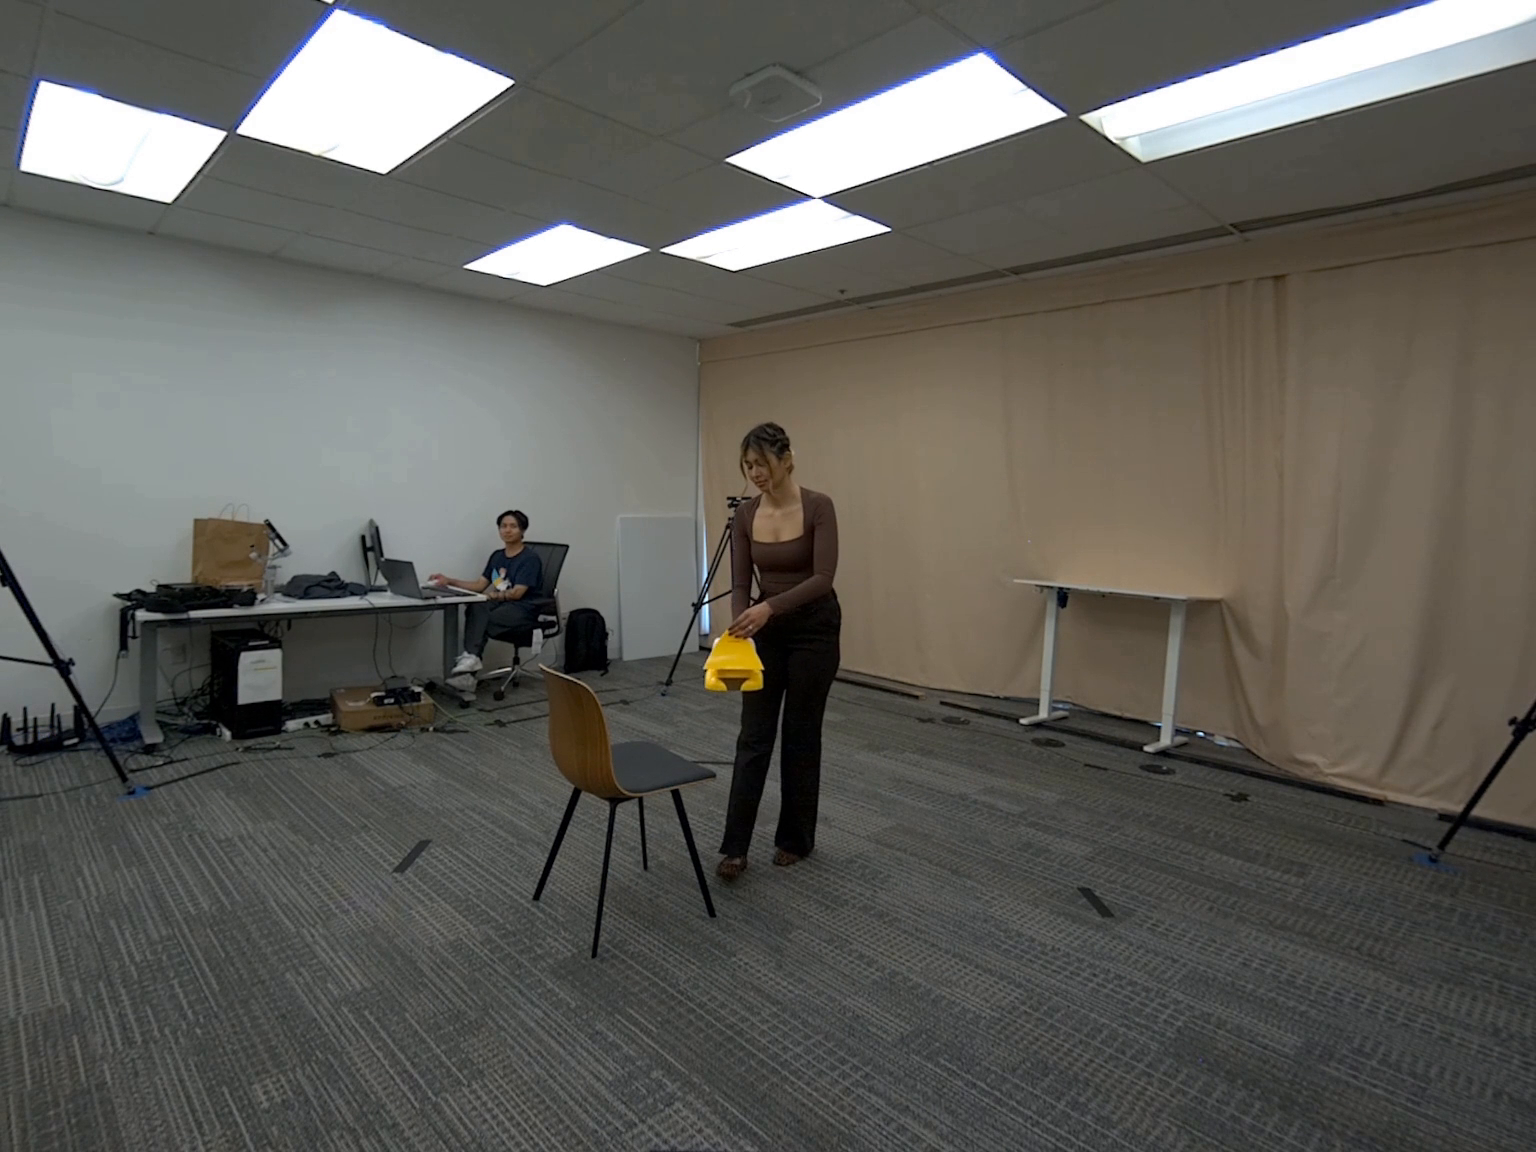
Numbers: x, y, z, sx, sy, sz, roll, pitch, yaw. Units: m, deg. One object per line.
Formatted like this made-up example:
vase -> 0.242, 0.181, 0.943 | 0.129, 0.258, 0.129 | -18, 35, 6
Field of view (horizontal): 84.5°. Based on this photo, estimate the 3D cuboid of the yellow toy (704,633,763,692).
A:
yellow toy -> -0.127, 0.267, 2.905 | 0.205, 0.230, 0.194 | 0, 6, 0
